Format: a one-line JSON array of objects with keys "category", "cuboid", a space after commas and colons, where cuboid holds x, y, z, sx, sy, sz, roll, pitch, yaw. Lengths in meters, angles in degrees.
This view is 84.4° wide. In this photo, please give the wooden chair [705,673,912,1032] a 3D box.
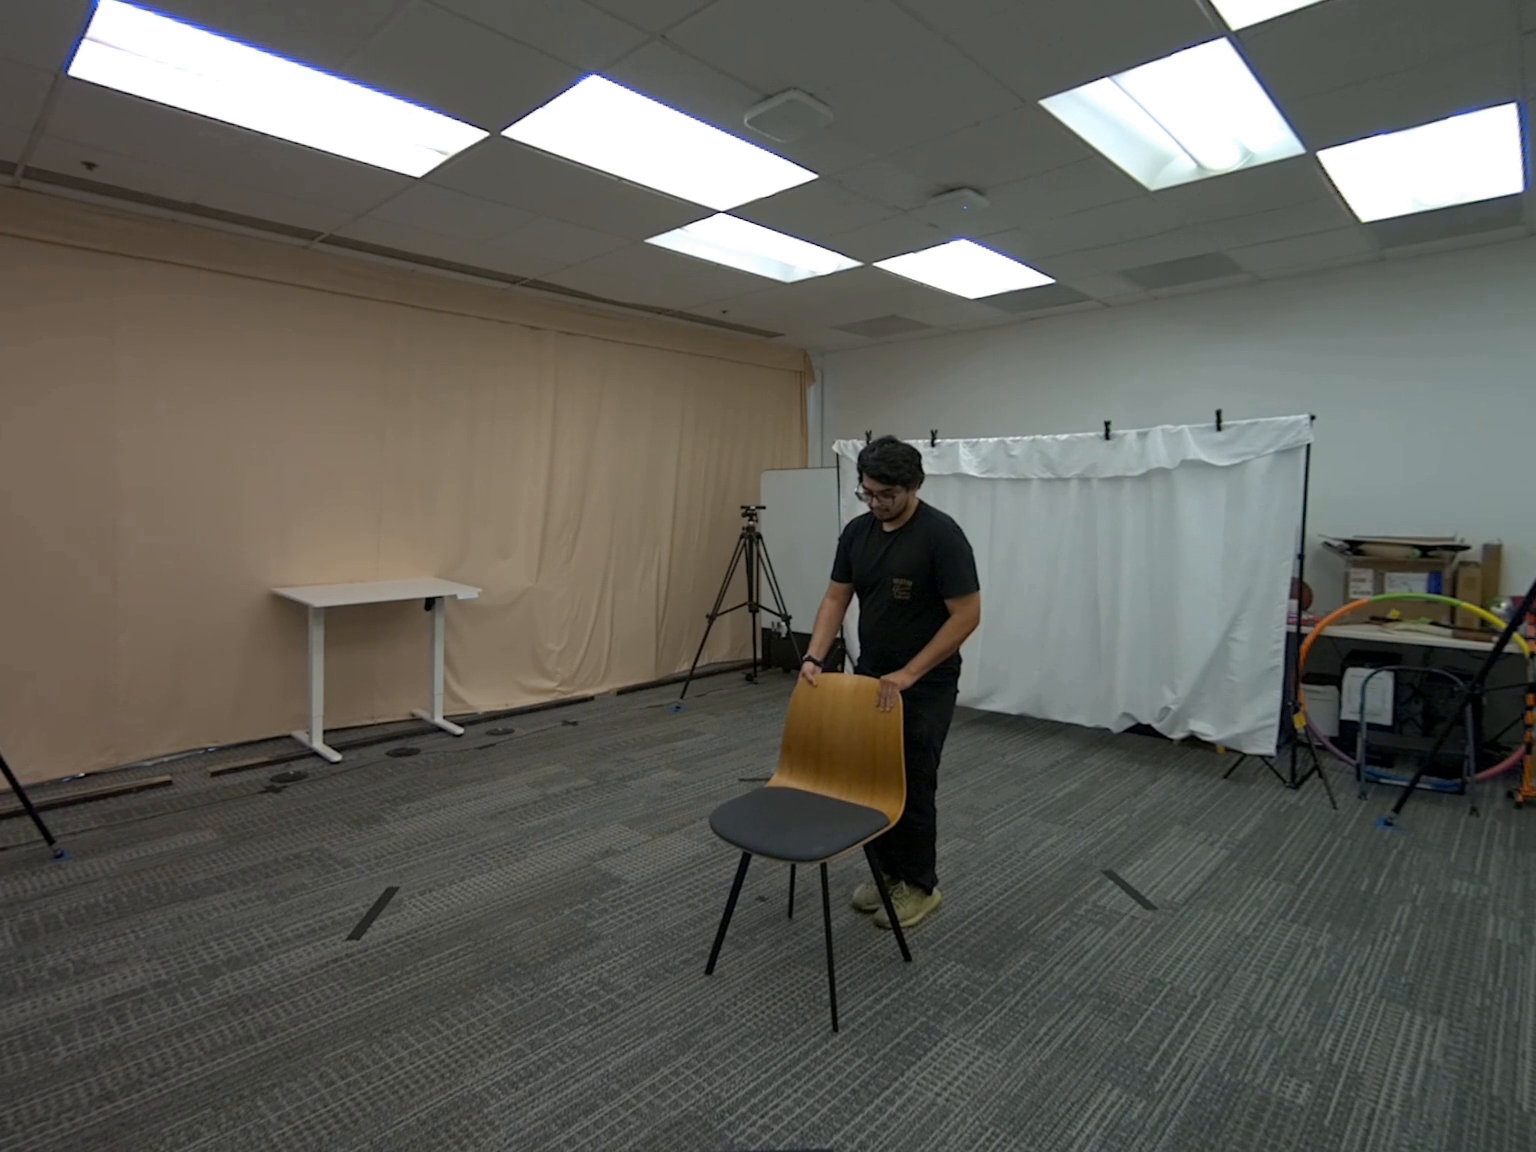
[{"category": "wooden chair", "cuboid": [0.126, 0.758, 2.498, 0.493, 0.877, 0.506, 3, 0, 37]}]
